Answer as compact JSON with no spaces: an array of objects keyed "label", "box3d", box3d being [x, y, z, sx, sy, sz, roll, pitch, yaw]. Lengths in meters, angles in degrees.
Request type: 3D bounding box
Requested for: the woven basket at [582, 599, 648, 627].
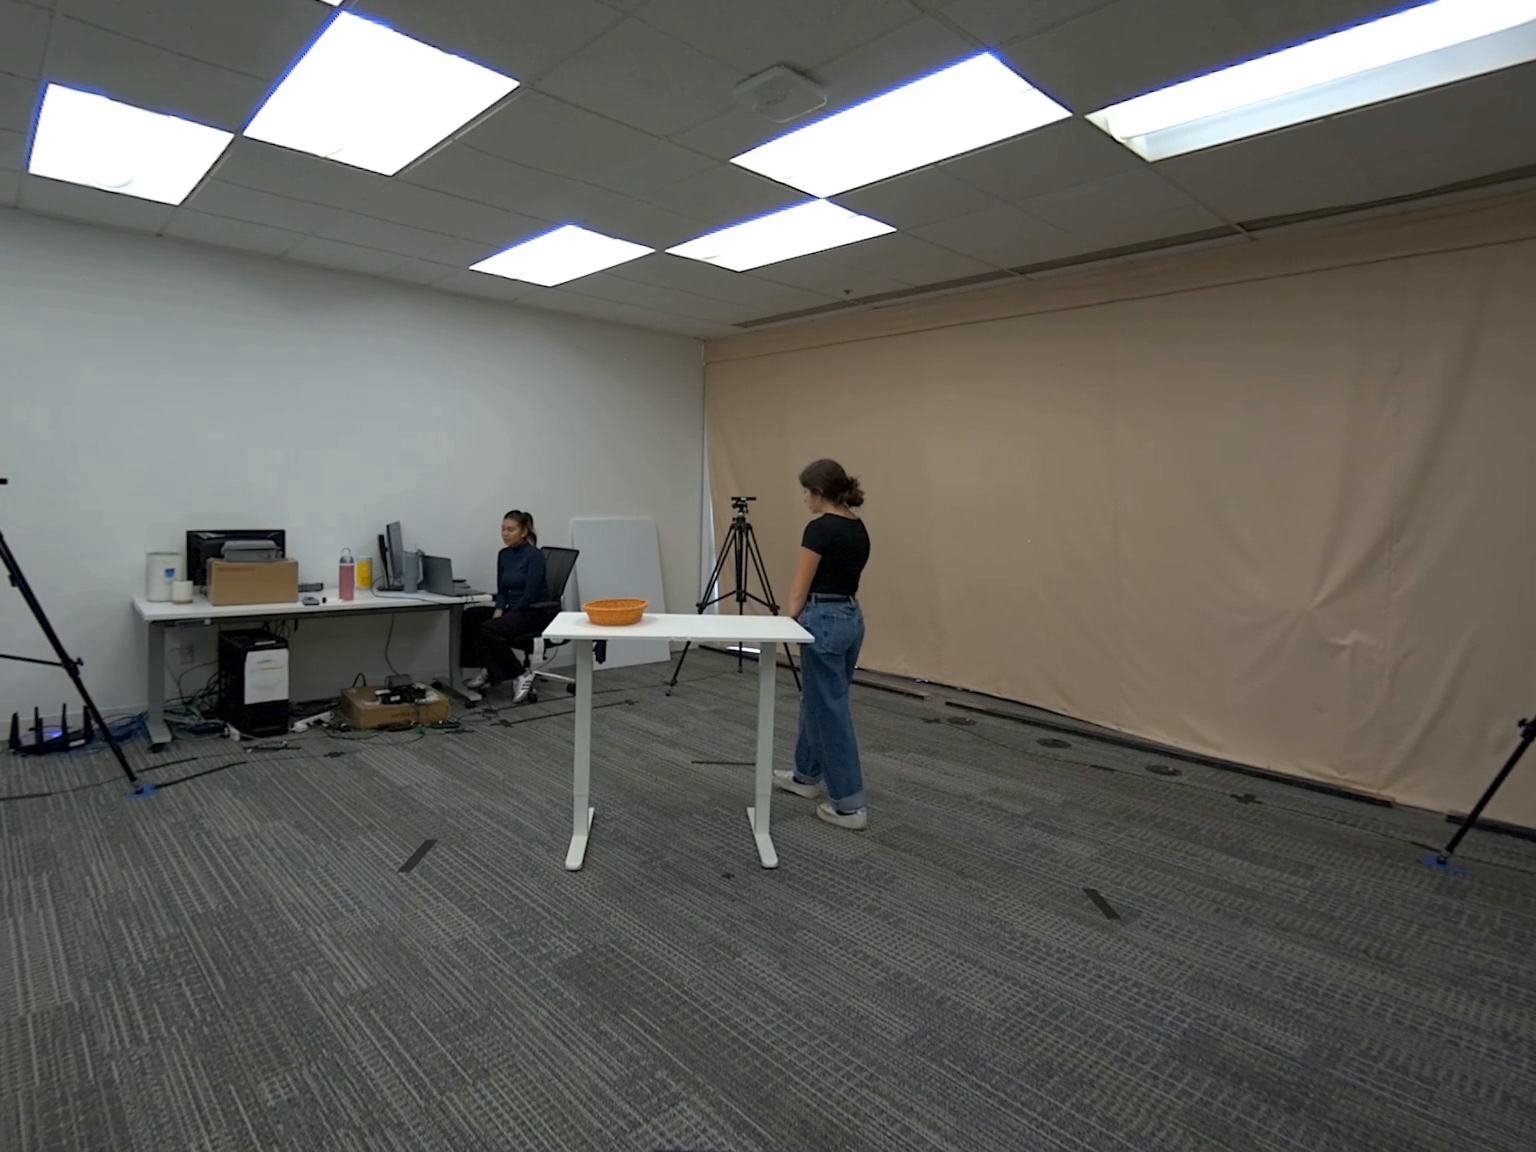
[{"label":"woven basket","box3d":[-0.635,0.155,3.427,0.255,0.073,0.348,2,5,10]}]
